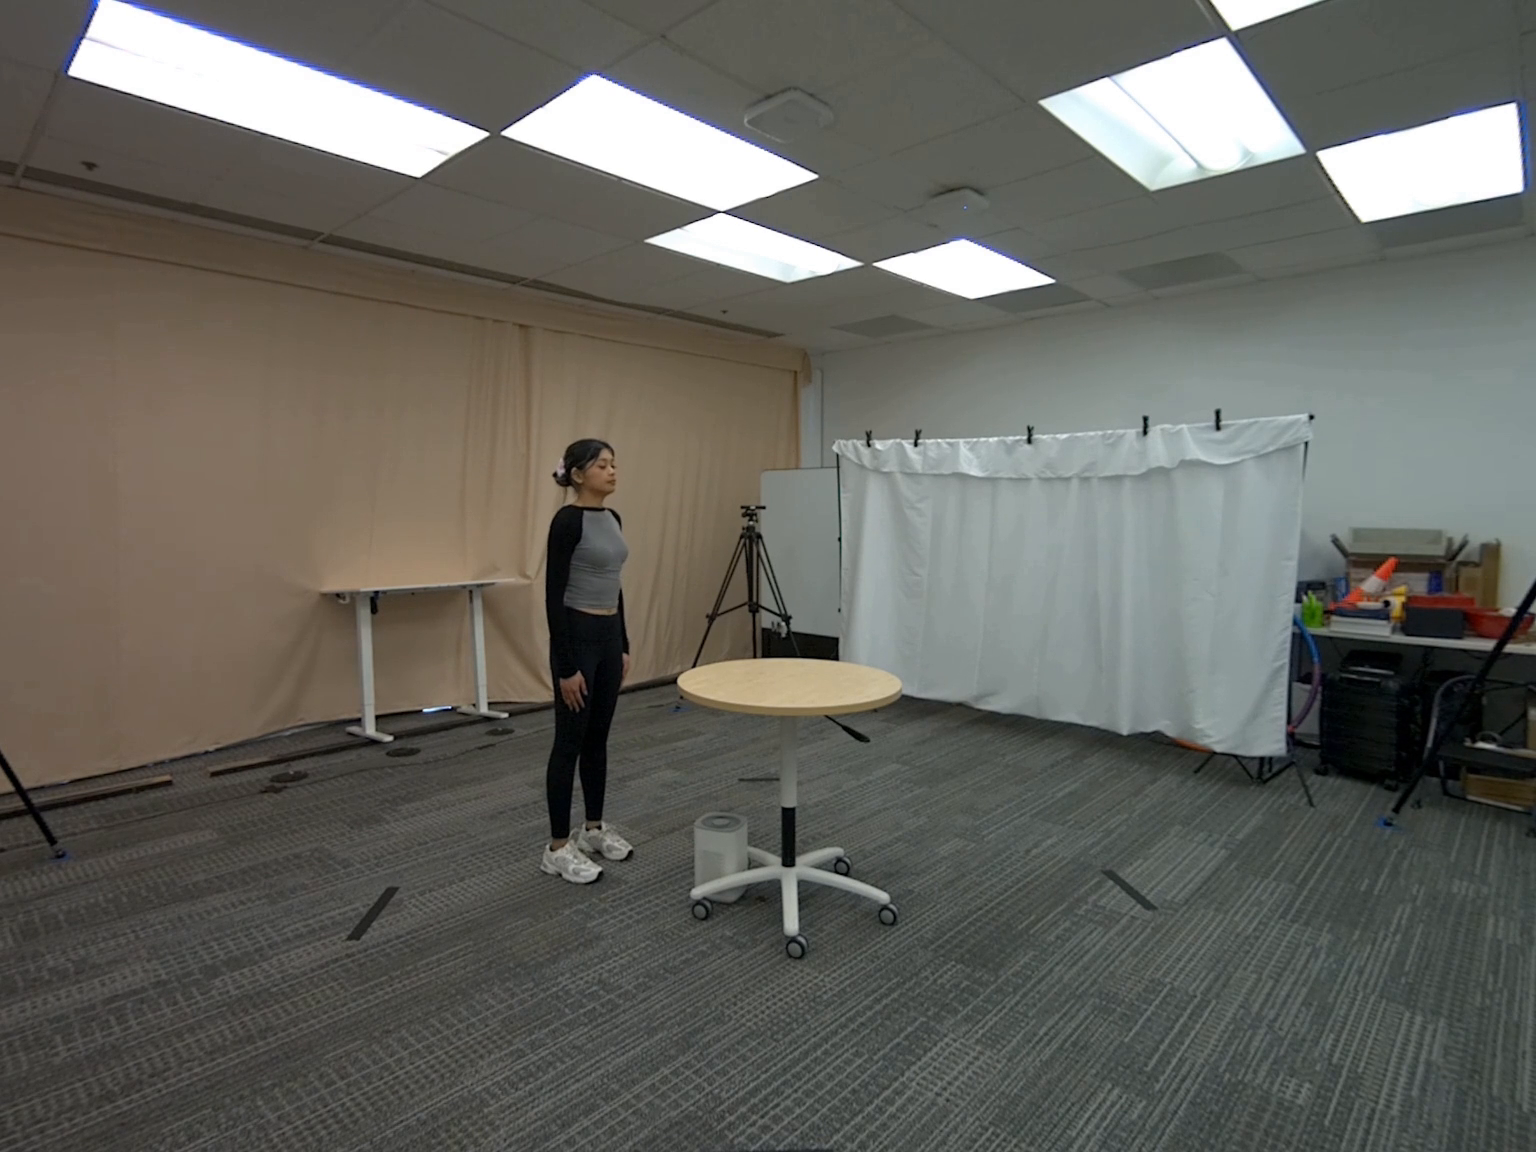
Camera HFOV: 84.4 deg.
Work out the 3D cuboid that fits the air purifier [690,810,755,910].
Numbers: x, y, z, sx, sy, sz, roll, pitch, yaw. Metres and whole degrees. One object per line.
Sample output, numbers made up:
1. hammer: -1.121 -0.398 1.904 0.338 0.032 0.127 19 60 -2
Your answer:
1. air purifier: -0.161 1.003 3.015 0.176 0.265 0.167 1 3 22
